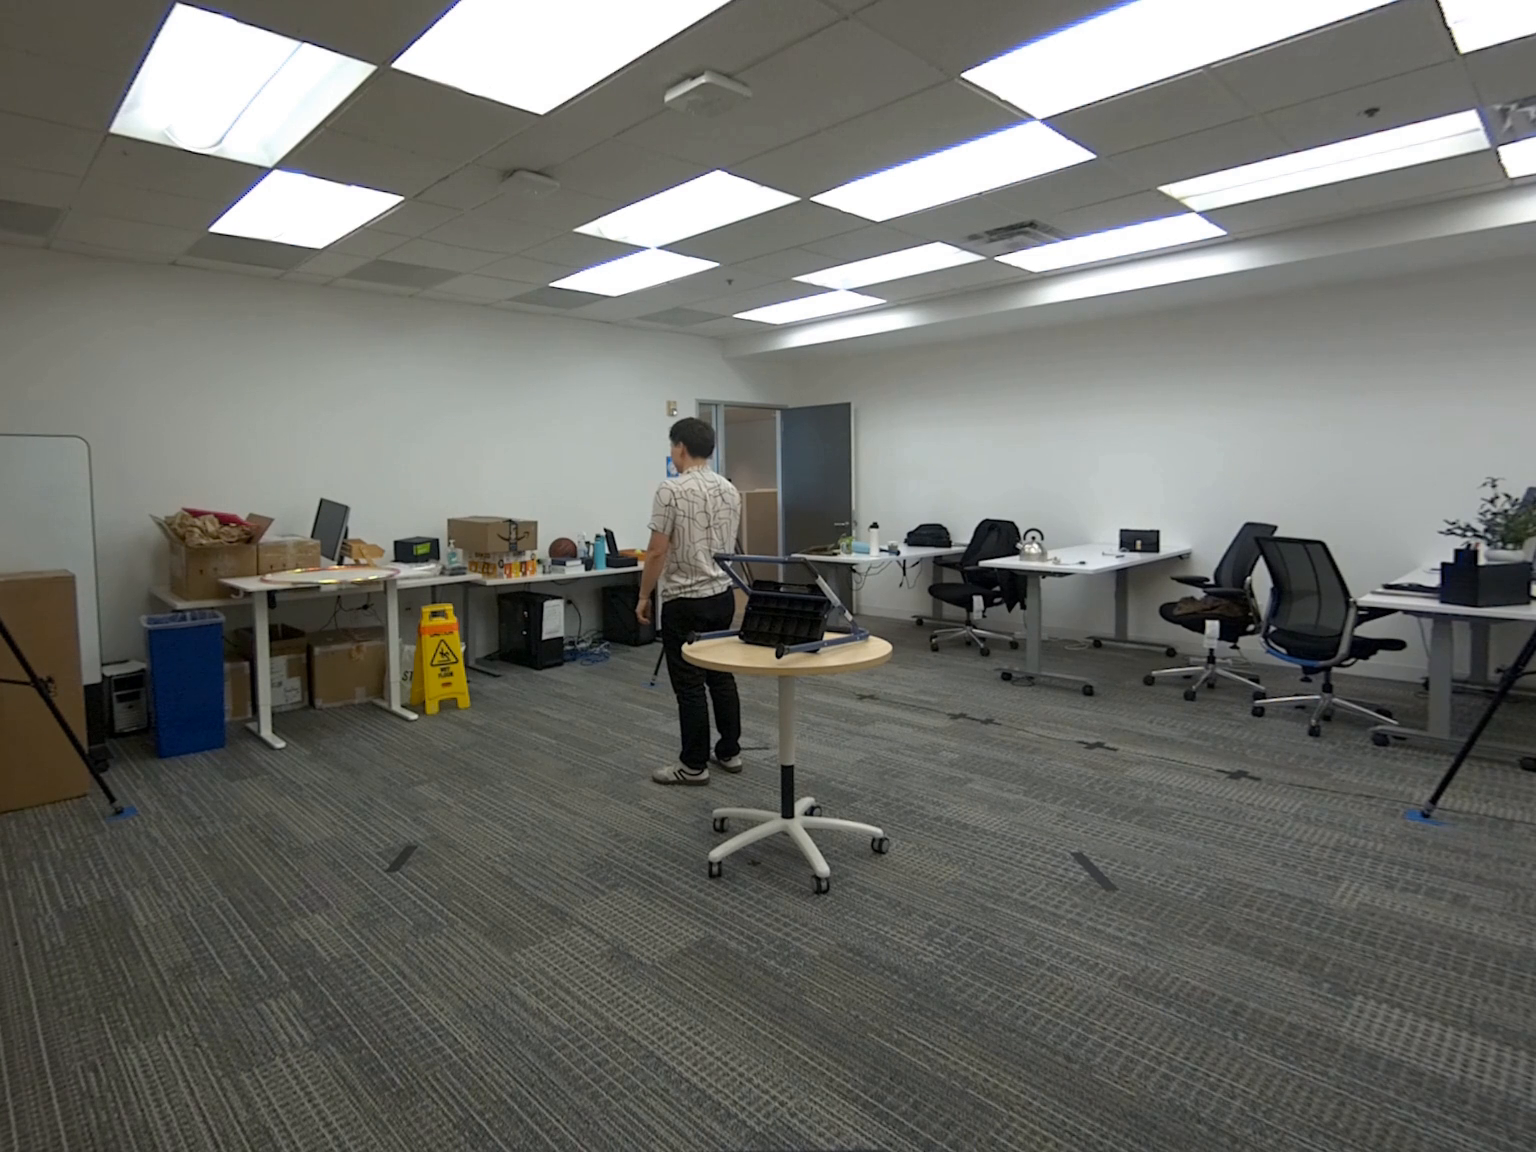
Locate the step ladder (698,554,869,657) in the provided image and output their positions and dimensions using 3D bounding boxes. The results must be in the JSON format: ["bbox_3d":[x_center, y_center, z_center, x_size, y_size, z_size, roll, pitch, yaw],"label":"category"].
[{"bbox_3d":[0.089,0.187,3.157,0.444,0.352,0.583,4,-17,39],"label":"step ladder"}]
